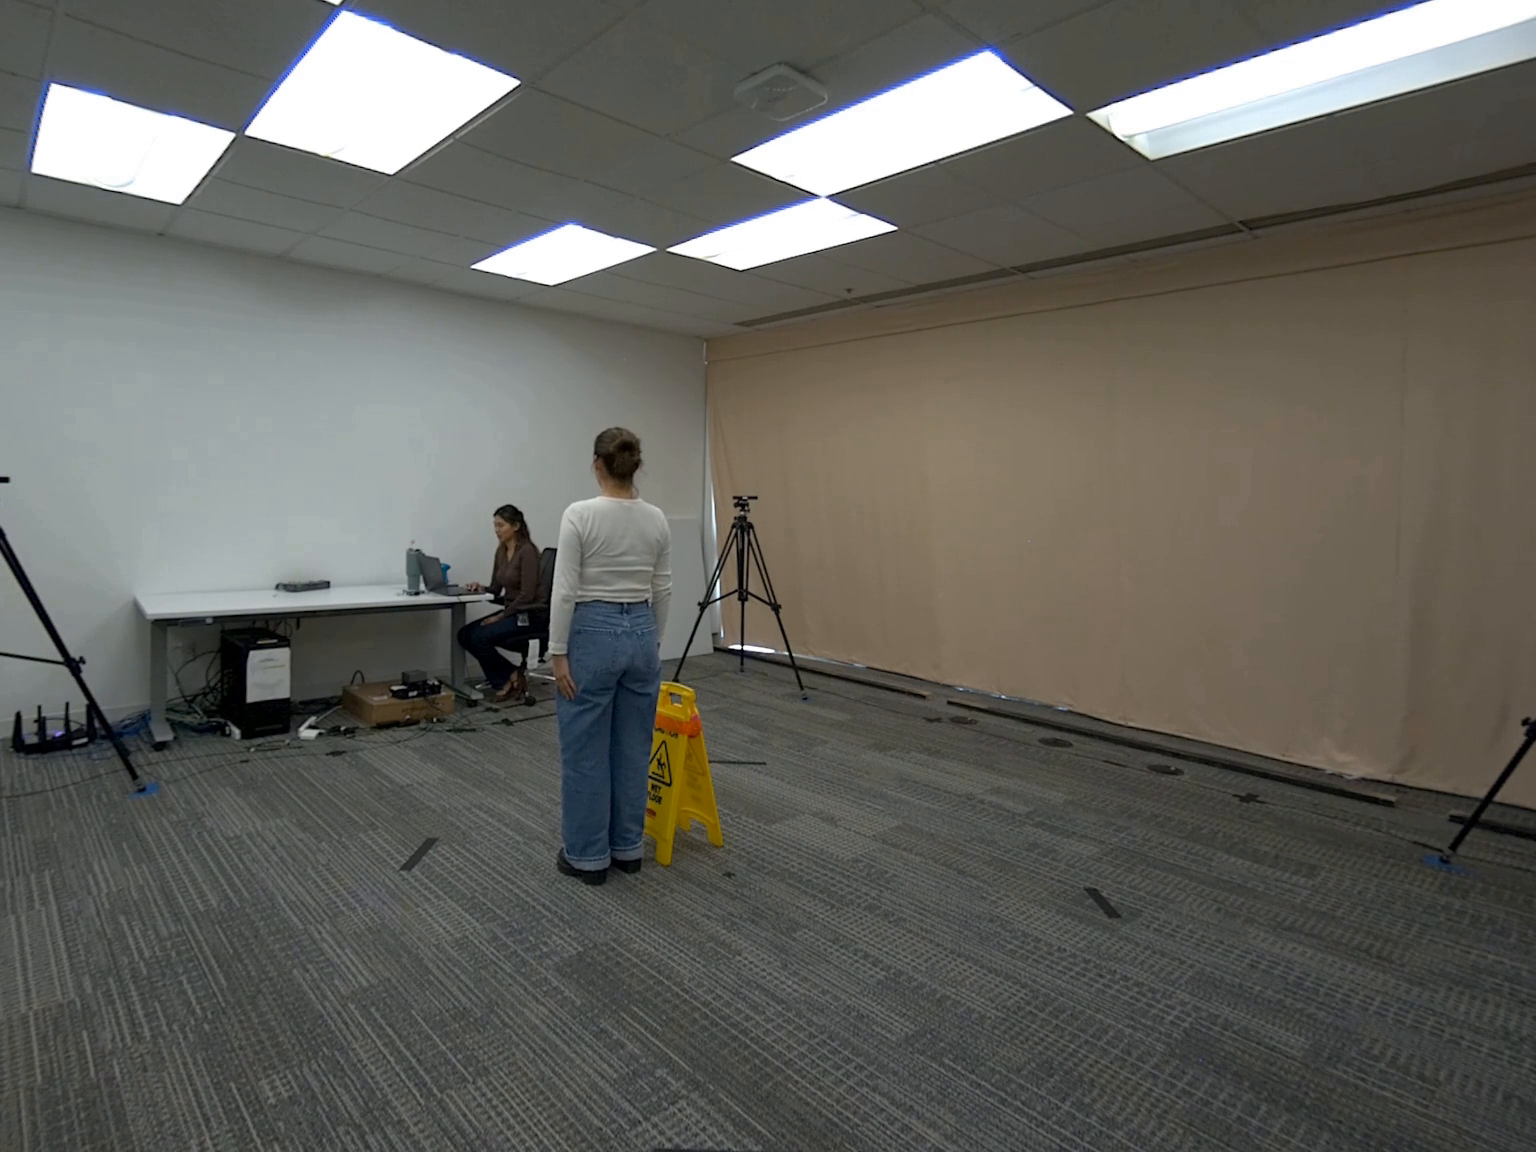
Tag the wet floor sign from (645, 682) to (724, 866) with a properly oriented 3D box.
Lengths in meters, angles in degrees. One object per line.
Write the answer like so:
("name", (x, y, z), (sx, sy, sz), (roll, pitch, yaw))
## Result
("wet floor sign", (-0.372, 0.752, 3.344), (0.283, 0.644, 0.289), (-1, 4, -44))
